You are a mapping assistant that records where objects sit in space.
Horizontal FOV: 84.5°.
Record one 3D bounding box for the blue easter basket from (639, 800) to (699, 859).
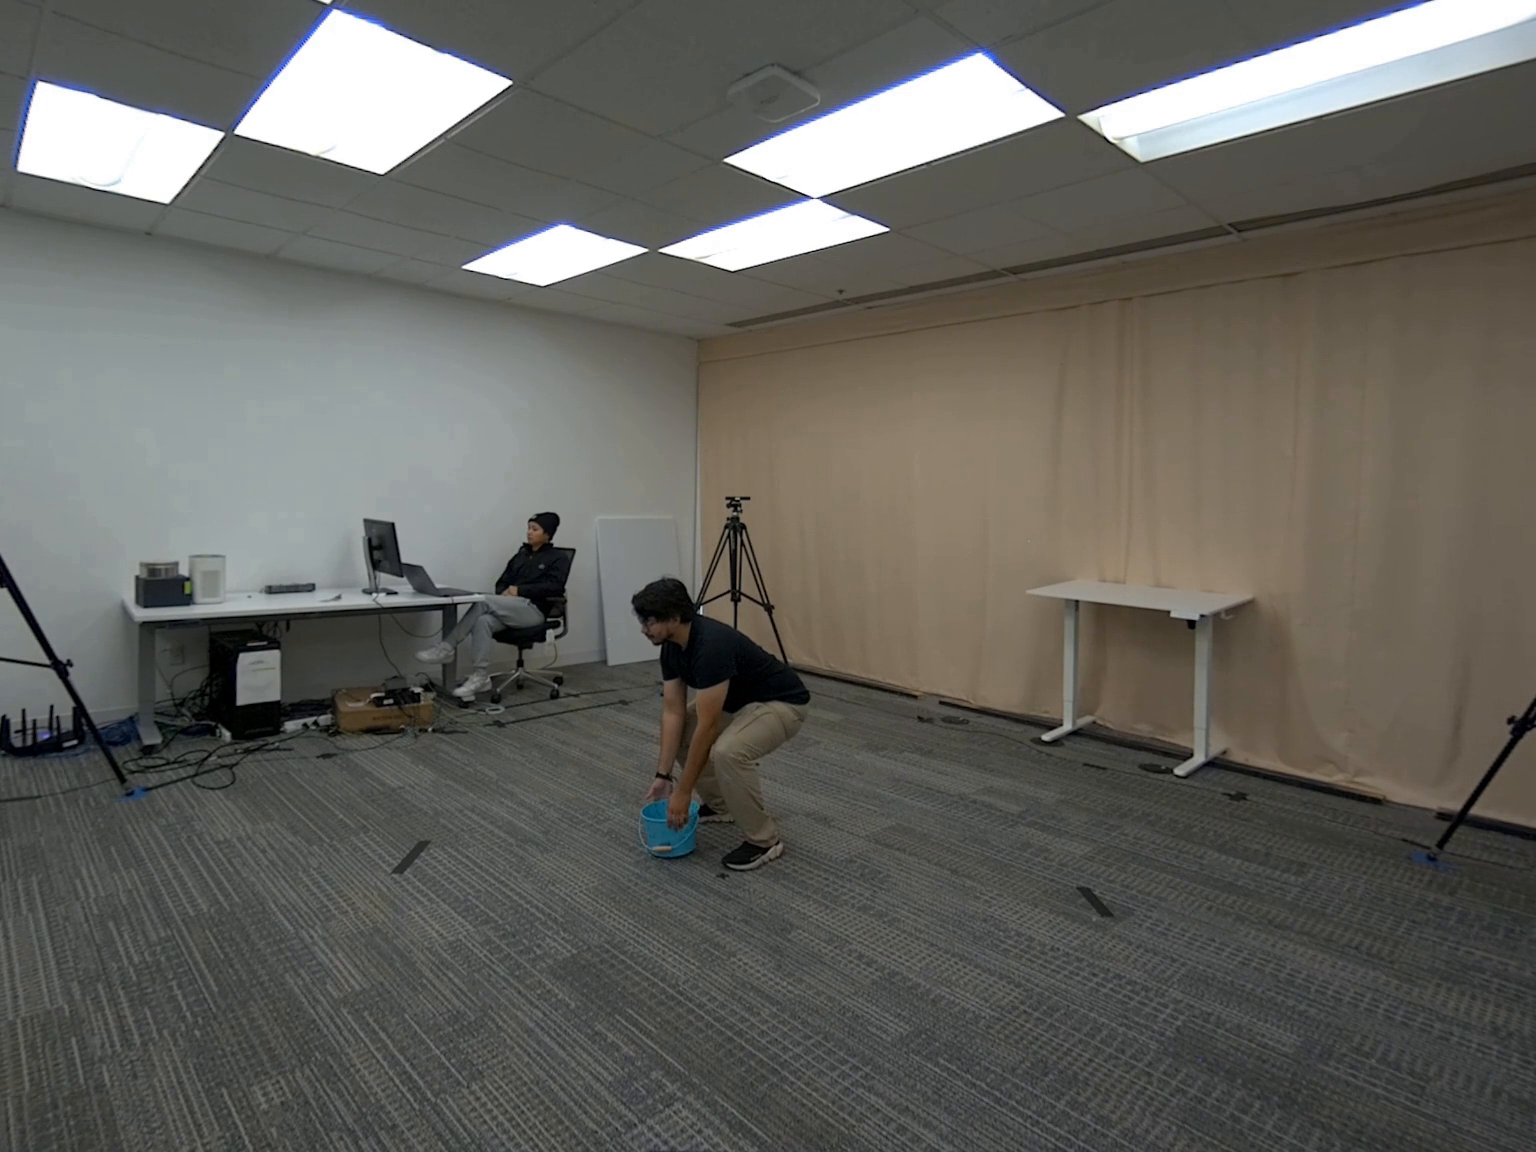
[{"bbox_3d":[-0.382,0.980,3.302,0.243,0.155,0.244,-5,5,-1],"label":"blue easter basket"}]
